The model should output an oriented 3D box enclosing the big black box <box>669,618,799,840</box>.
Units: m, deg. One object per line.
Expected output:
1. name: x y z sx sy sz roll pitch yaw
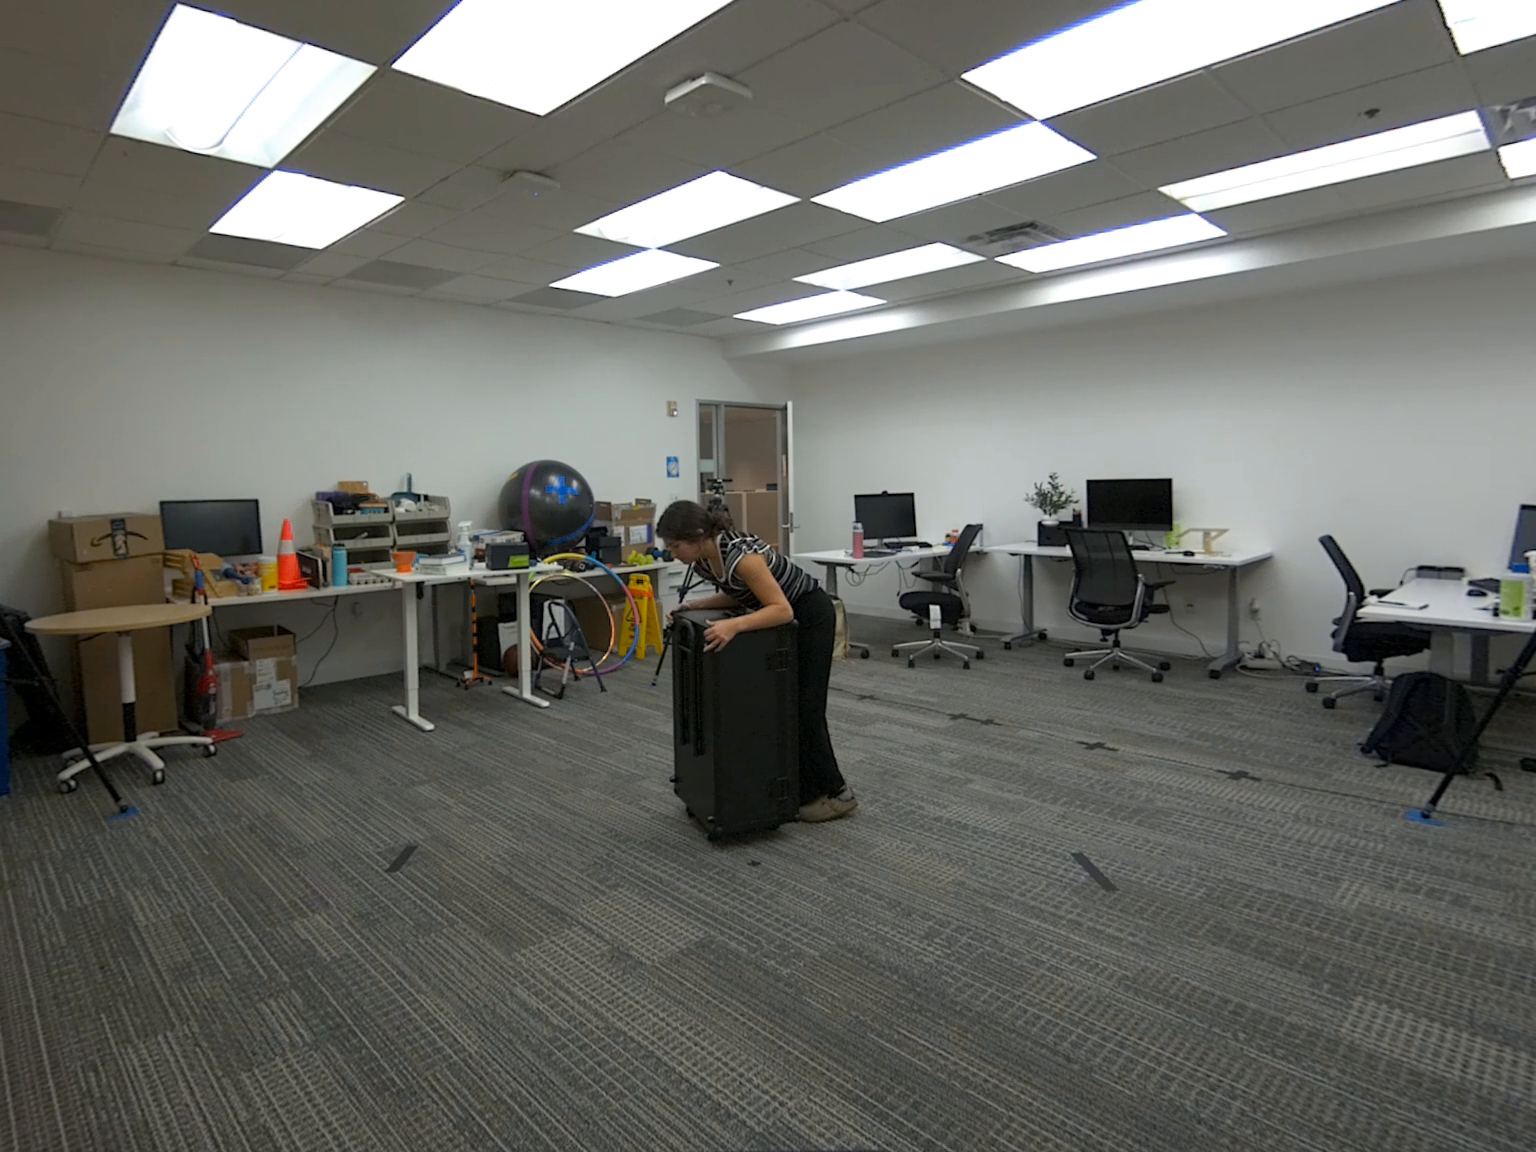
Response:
1. big black box: -0.158 0.591 3.432 0.389 0.858 0.533 -4 5 -22
